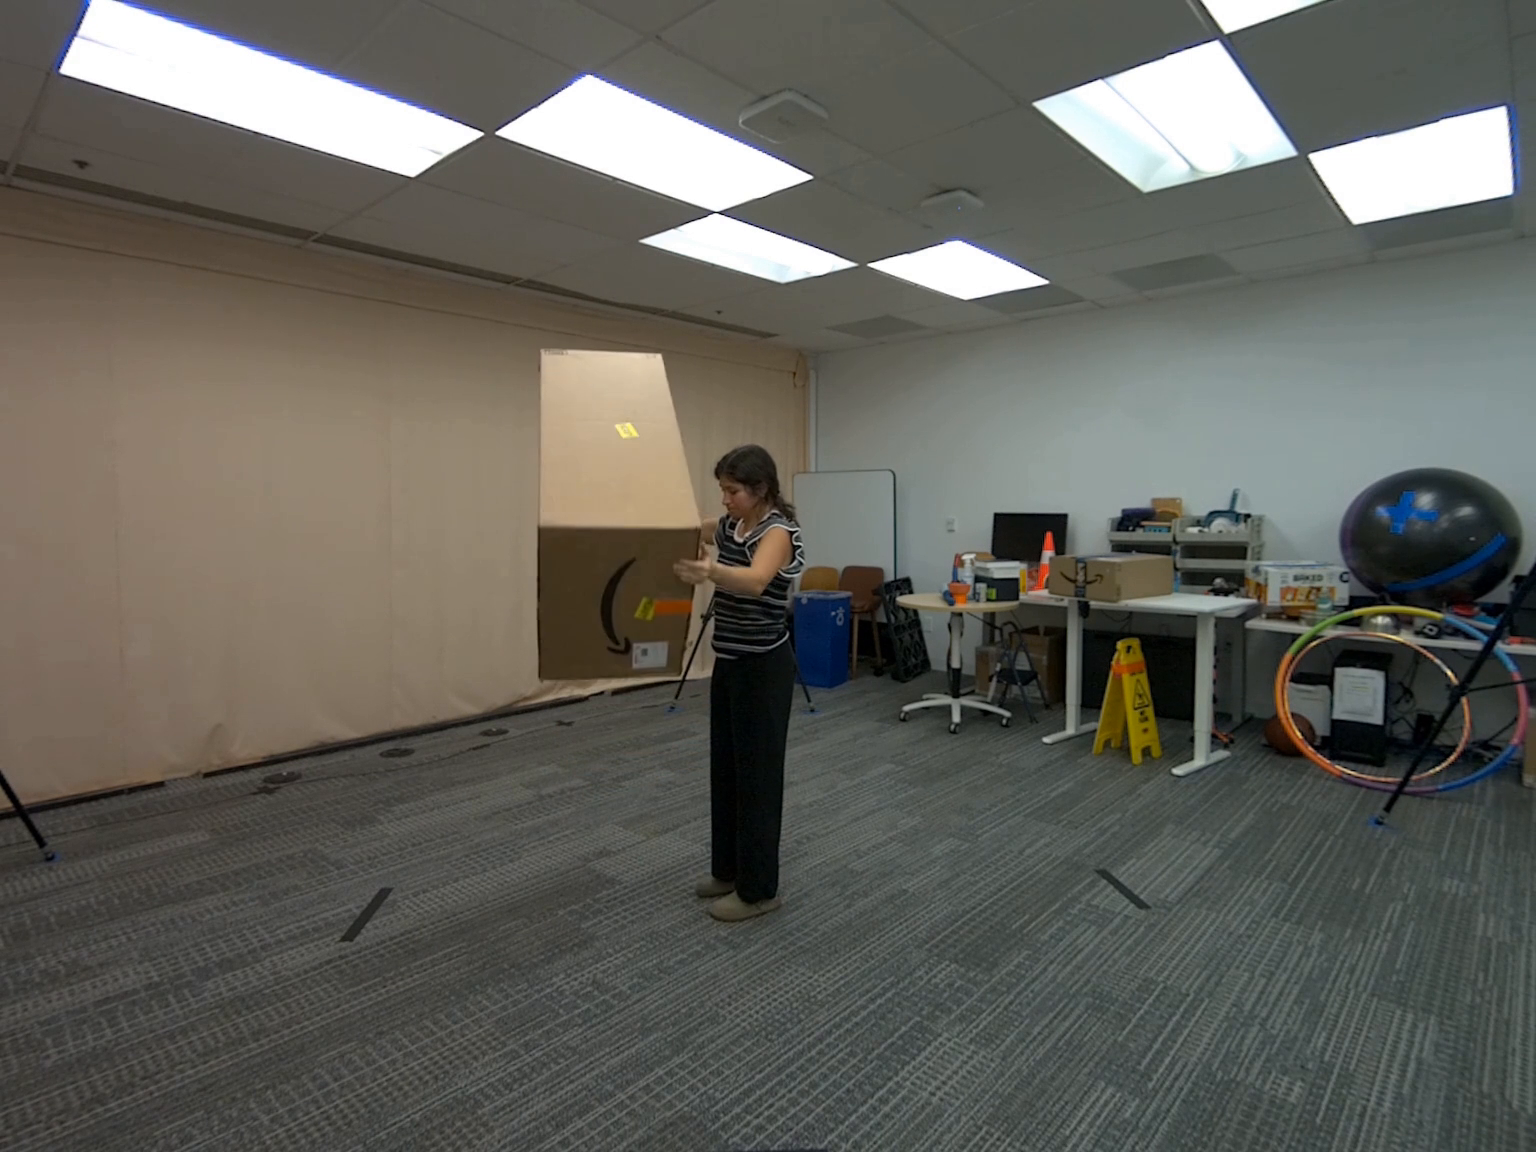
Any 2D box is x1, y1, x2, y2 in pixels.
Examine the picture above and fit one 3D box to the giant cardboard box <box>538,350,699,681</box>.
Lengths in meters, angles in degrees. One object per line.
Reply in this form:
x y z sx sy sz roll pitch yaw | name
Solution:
-0.518 -0.230 2.729 0.420 0.570 1.053 -1 40 -14 | giant cardboard box
